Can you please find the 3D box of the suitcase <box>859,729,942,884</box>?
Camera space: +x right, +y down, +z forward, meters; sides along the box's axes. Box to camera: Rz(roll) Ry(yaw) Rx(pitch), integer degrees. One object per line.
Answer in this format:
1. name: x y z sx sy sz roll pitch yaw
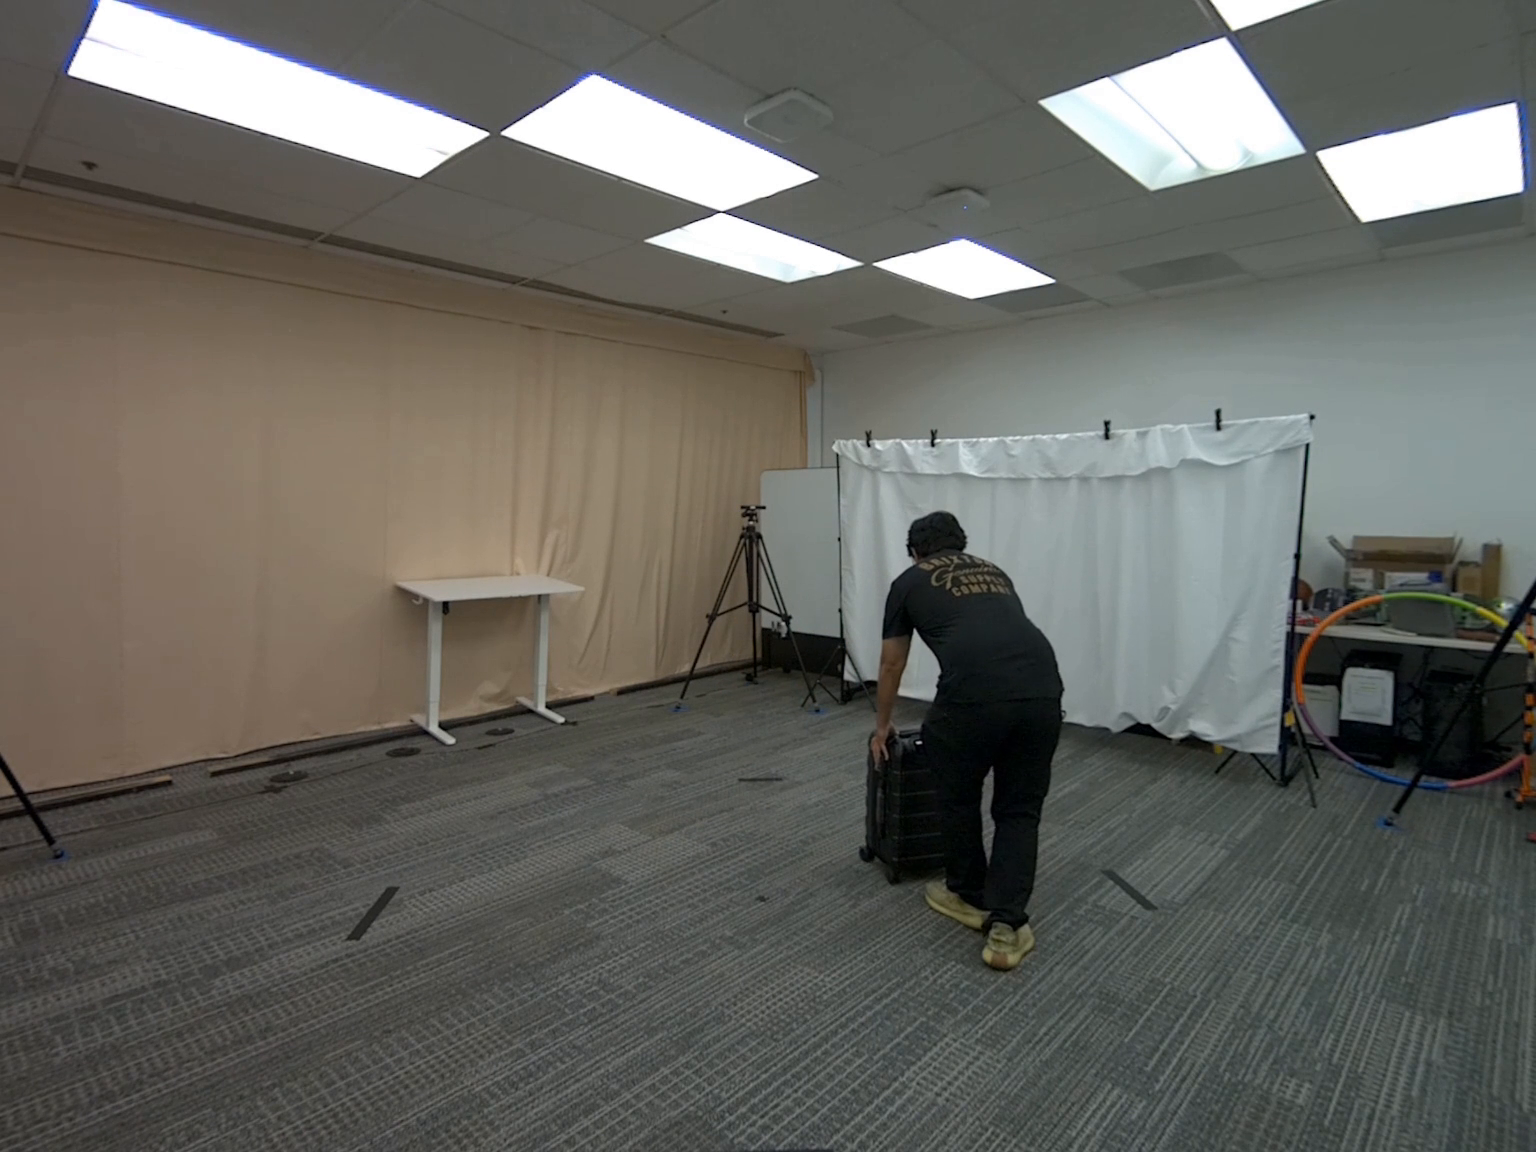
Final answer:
1. suitcase: 0.580 0.851 3.201 0.369 0.548 0.253 -1 4 -17
